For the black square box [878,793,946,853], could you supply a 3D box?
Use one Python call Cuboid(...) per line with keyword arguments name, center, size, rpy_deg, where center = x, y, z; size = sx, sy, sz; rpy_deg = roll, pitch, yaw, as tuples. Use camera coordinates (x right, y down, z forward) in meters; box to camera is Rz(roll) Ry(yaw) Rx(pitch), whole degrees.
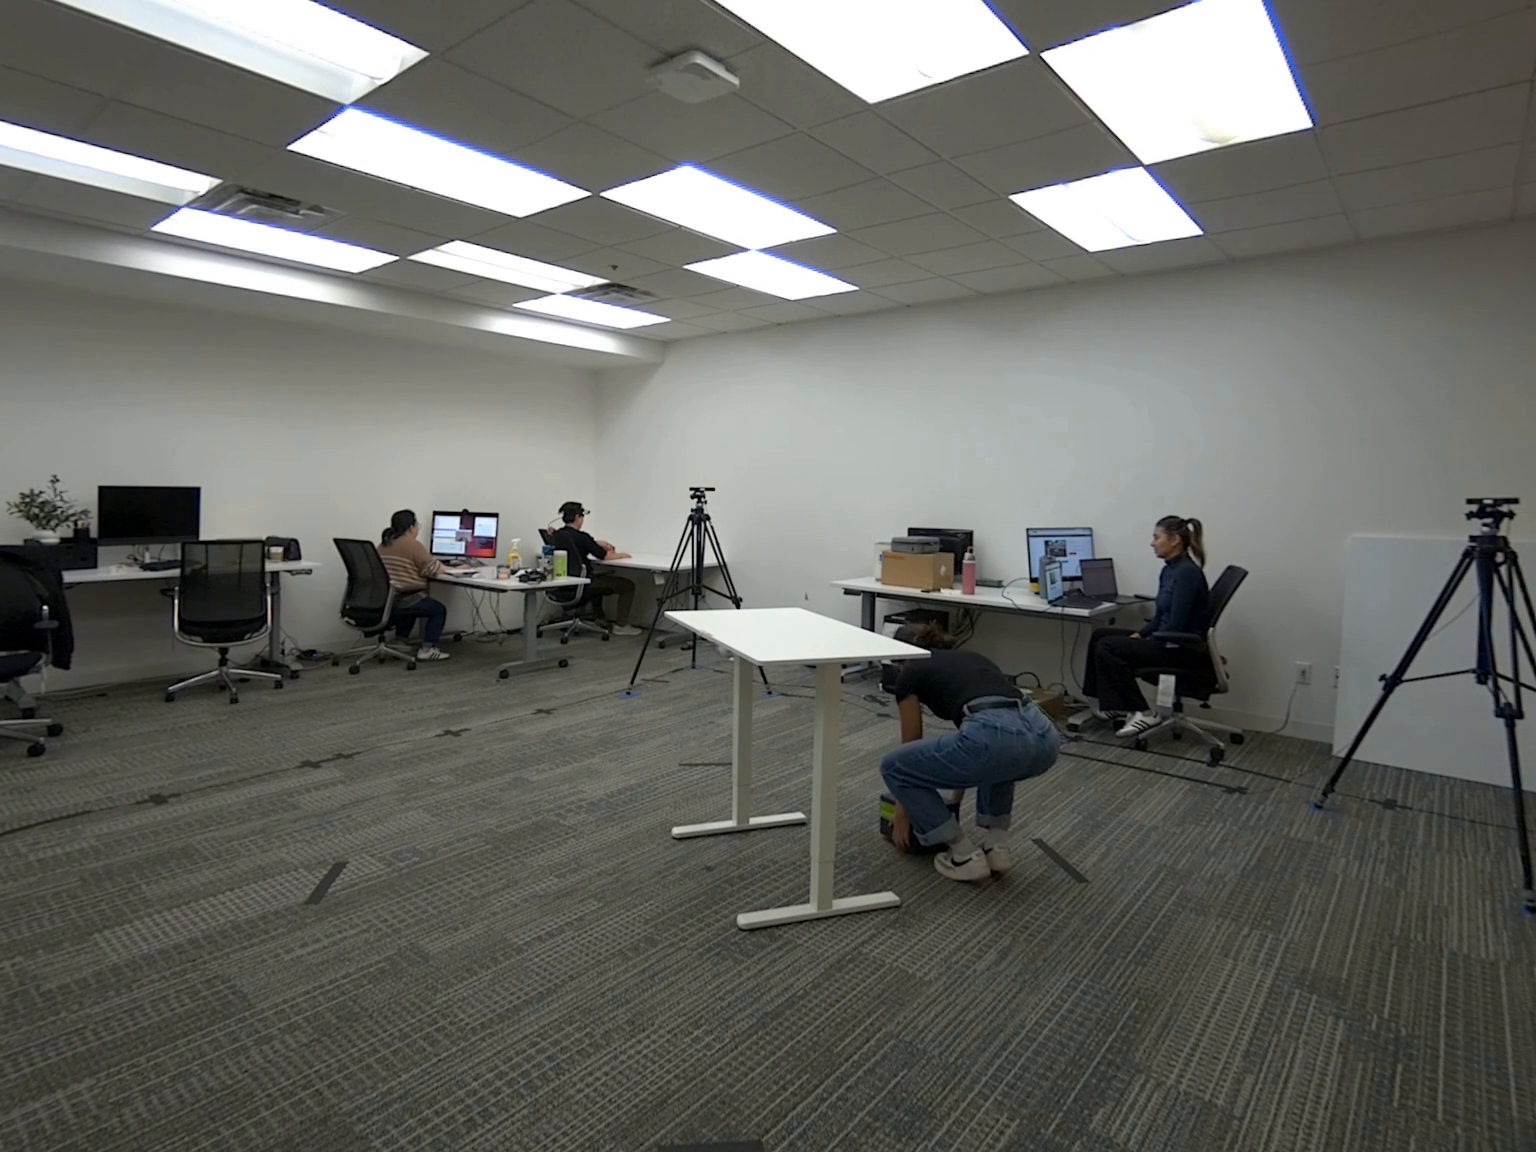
Cuboid(name="black square box", center=(0.599, 0.946, 3.382), size=(0.211, 0.156, 0.234), rpy_deg=(0, 2, -27))
